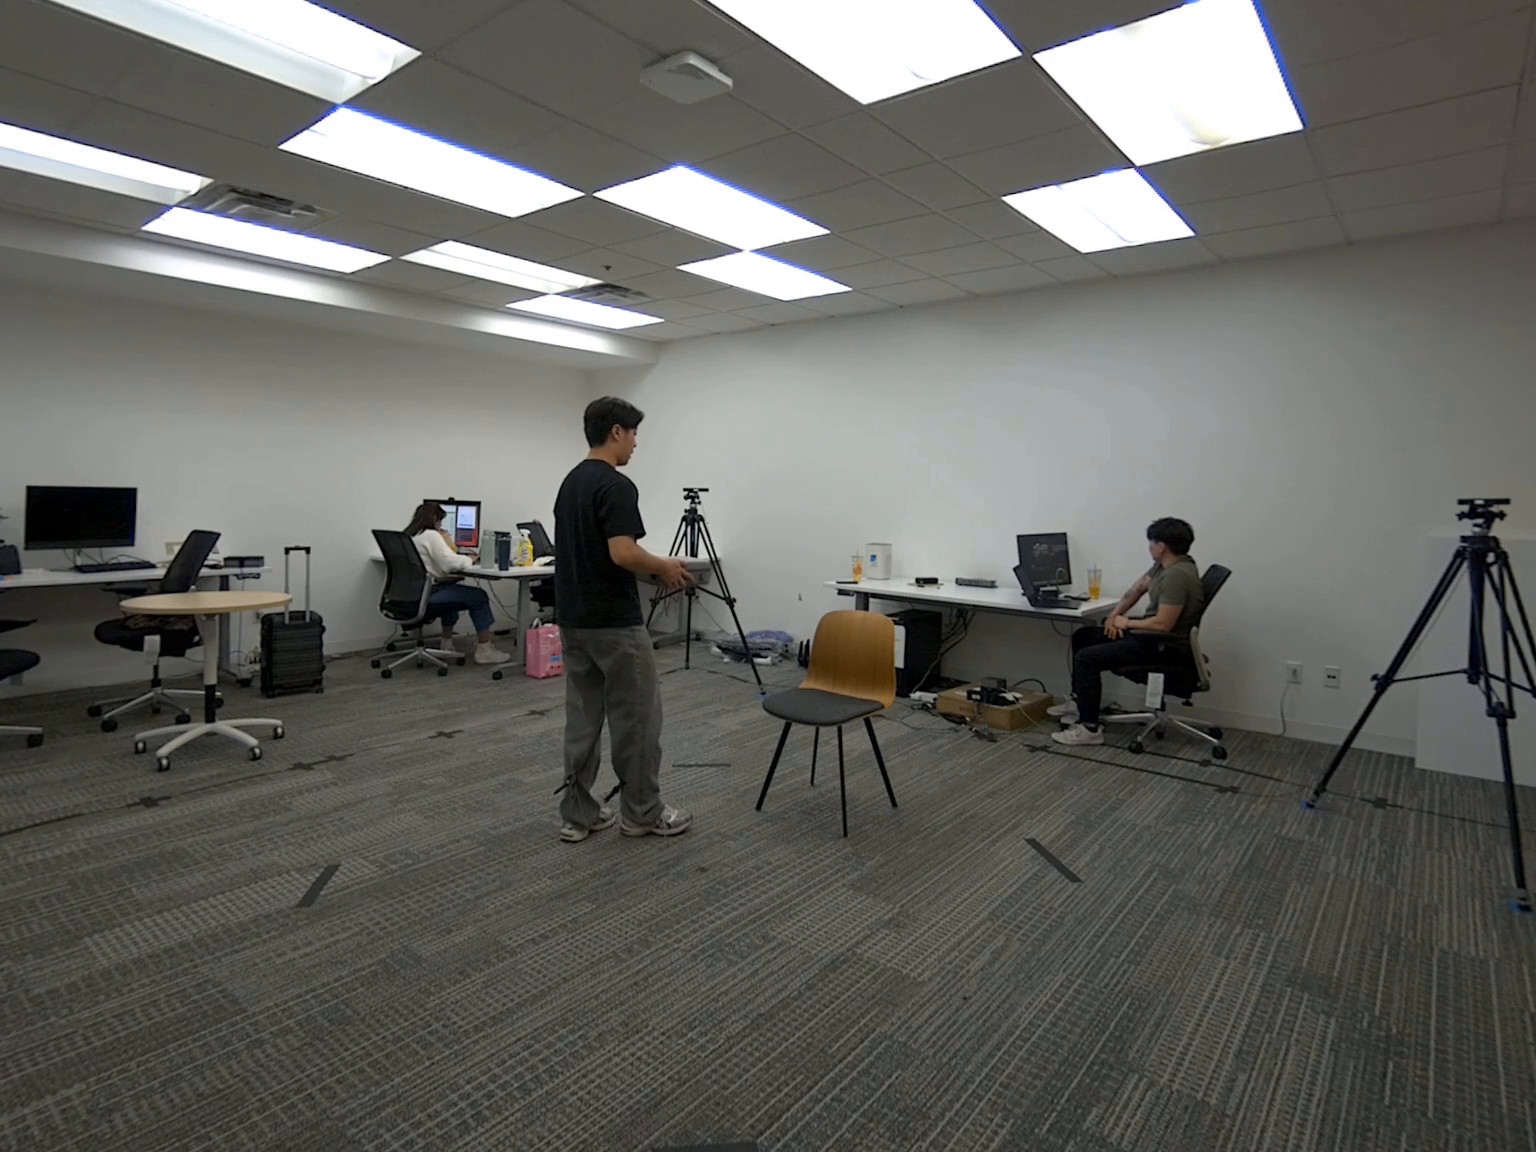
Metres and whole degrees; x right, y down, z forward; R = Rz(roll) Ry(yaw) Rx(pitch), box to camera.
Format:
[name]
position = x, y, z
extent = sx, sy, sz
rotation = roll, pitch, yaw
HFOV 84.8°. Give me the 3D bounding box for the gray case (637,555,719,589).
[gray case]
position = -0.402, -0.021, 3.549
extent = 0.279, 0.102, 0.272
rotation = -4, 7, -34
